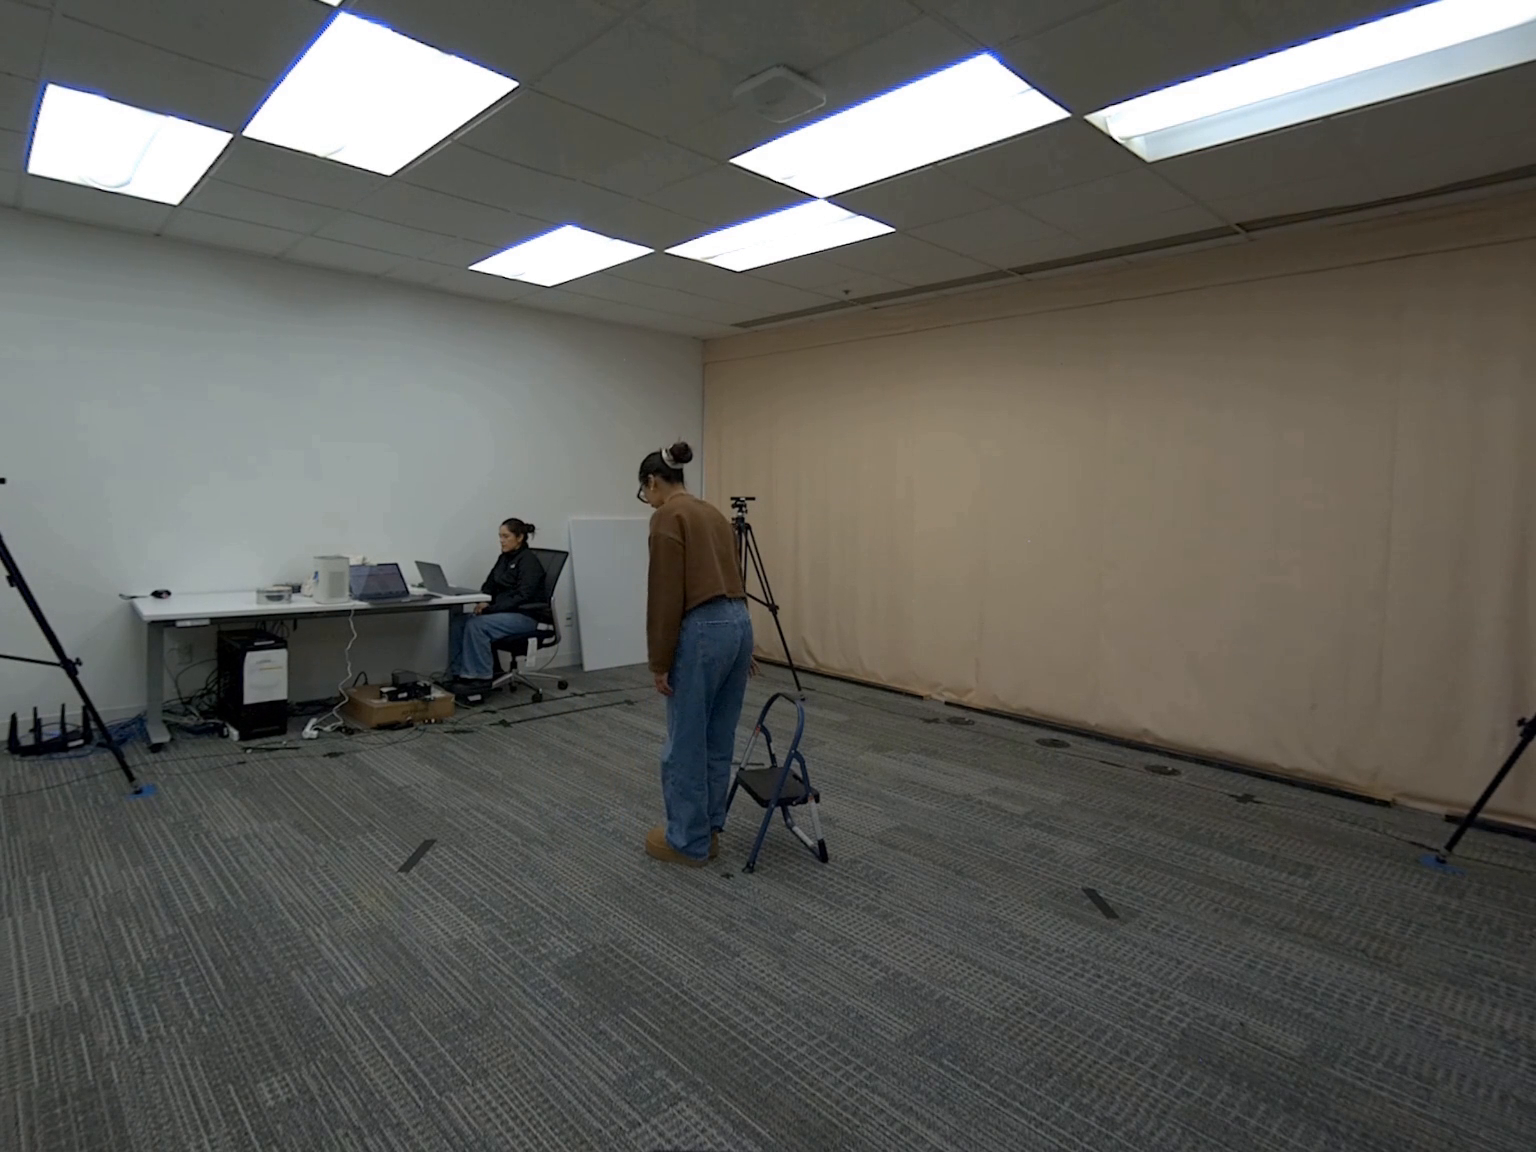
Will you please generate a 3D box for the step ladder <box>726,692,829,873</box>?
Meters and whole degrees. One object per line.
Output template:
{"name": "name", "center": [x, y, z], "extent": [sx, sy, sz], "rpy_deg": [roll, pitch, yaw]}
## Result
{"name": "step ladder", "center": [-0.002, 0.785, 3.365], "extent": [0.344, 0.605, 0.438], "rpy_deg": [0, 4, -19]}
